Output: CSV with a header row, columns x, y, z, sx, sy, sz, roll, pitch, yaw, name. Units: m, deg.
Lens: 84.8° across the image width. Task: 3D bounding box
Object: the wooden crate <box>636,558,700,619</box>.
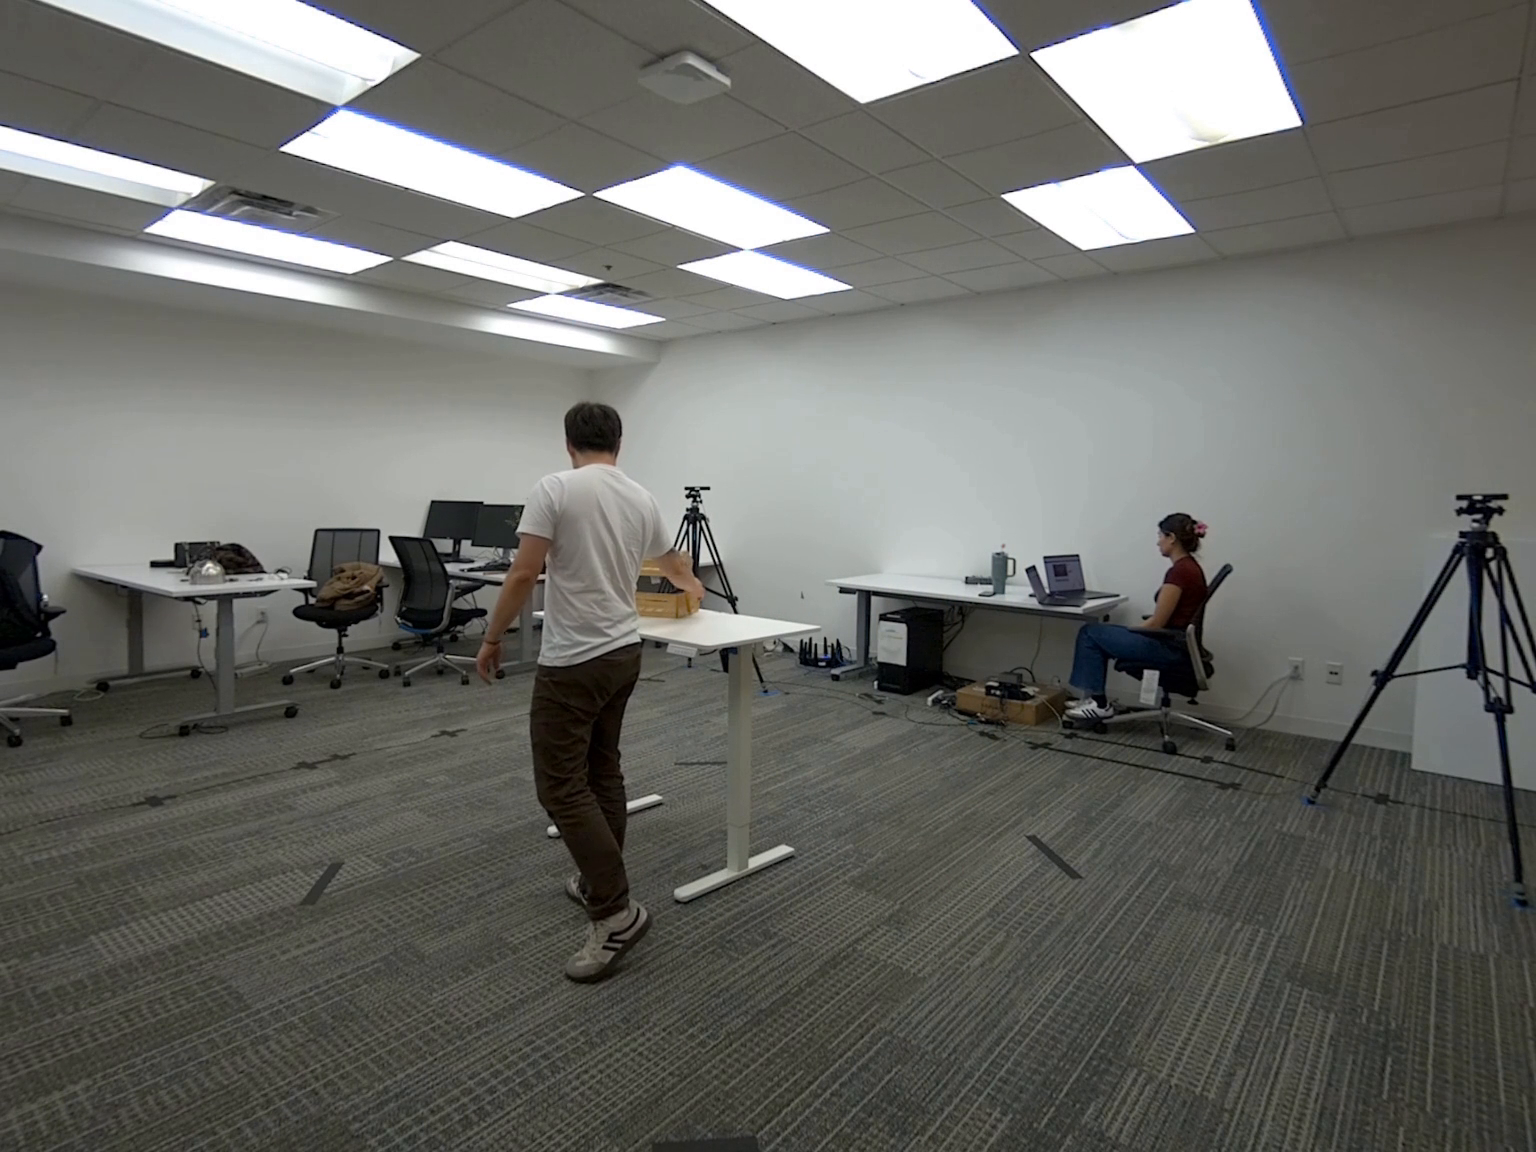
x,y,z,sx,sy,sz,roll,pitch,yaw,name
-0.473,0.016,3.442,0.331,0.272,0.298,2,6,17,wooden crate
